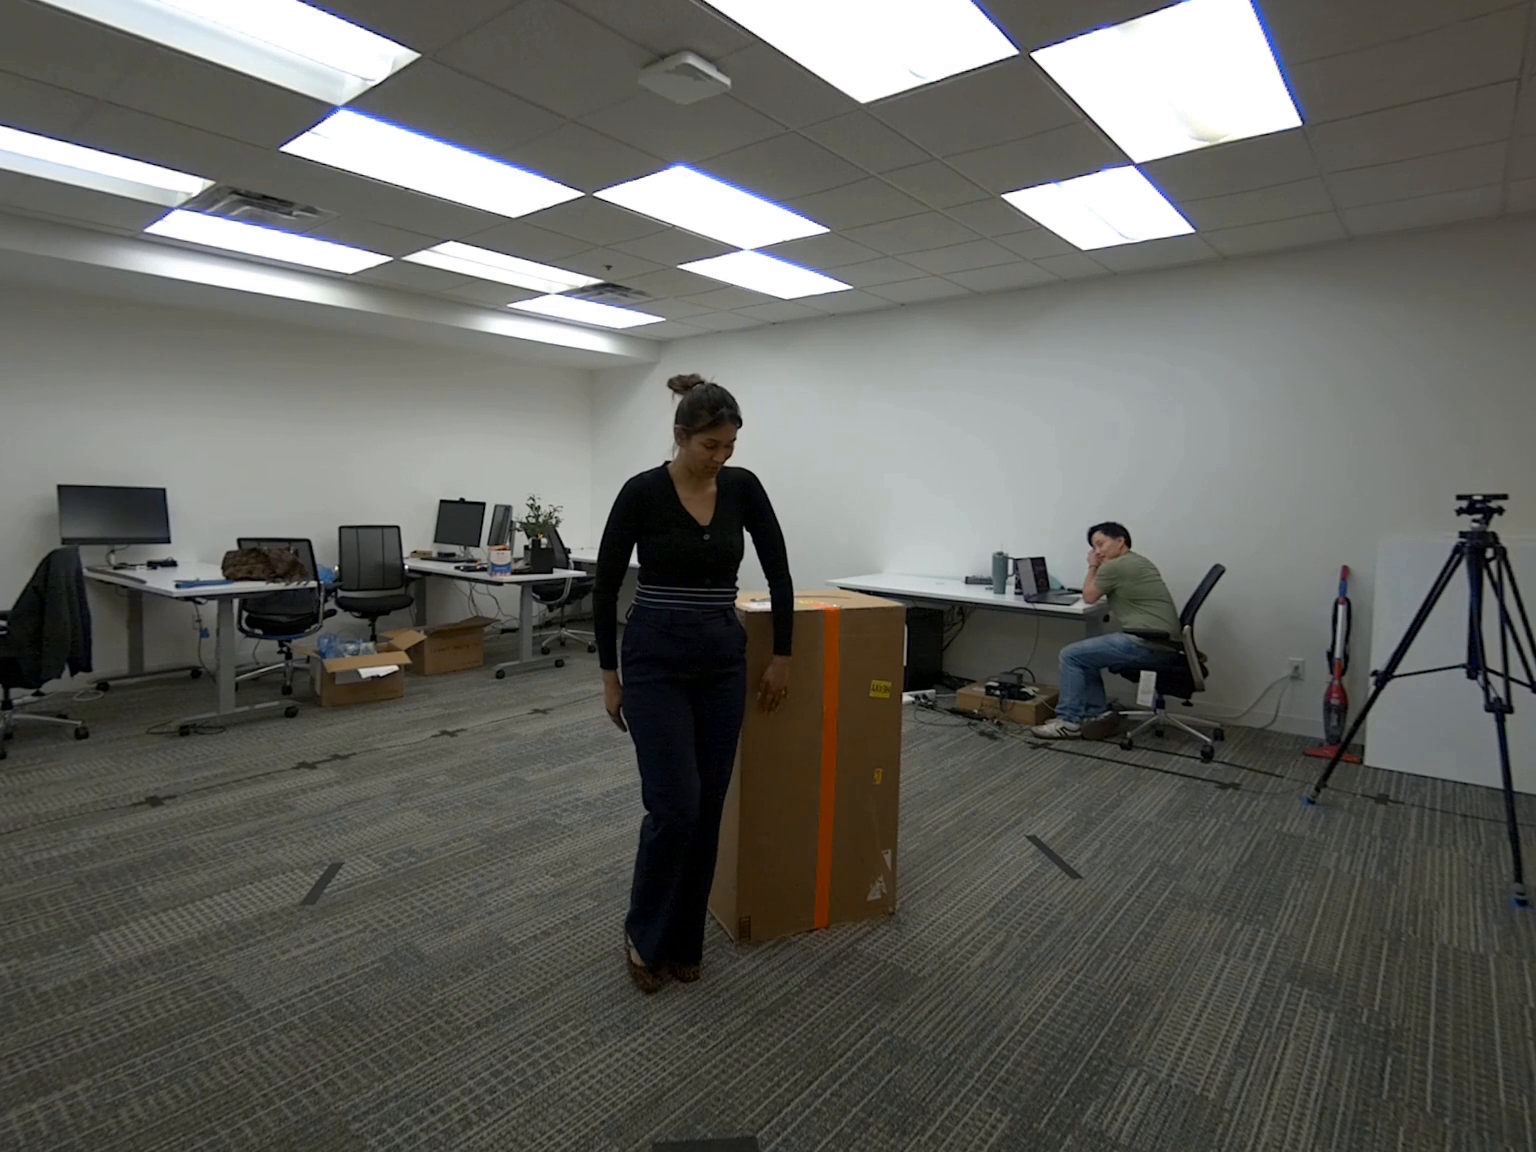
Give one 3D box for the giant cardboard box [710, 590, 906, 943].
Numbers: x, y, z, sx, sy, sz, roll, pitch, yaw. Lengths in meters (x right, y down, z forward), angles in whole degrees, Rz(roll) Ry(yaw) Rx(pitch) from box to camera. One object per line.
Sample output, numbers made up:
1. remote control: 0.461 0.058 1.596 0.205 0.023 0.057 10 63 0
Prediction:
1. giant cardboard box: 0.083 0.586 2.859 0.564 1.023 0.438 0 4 -25
